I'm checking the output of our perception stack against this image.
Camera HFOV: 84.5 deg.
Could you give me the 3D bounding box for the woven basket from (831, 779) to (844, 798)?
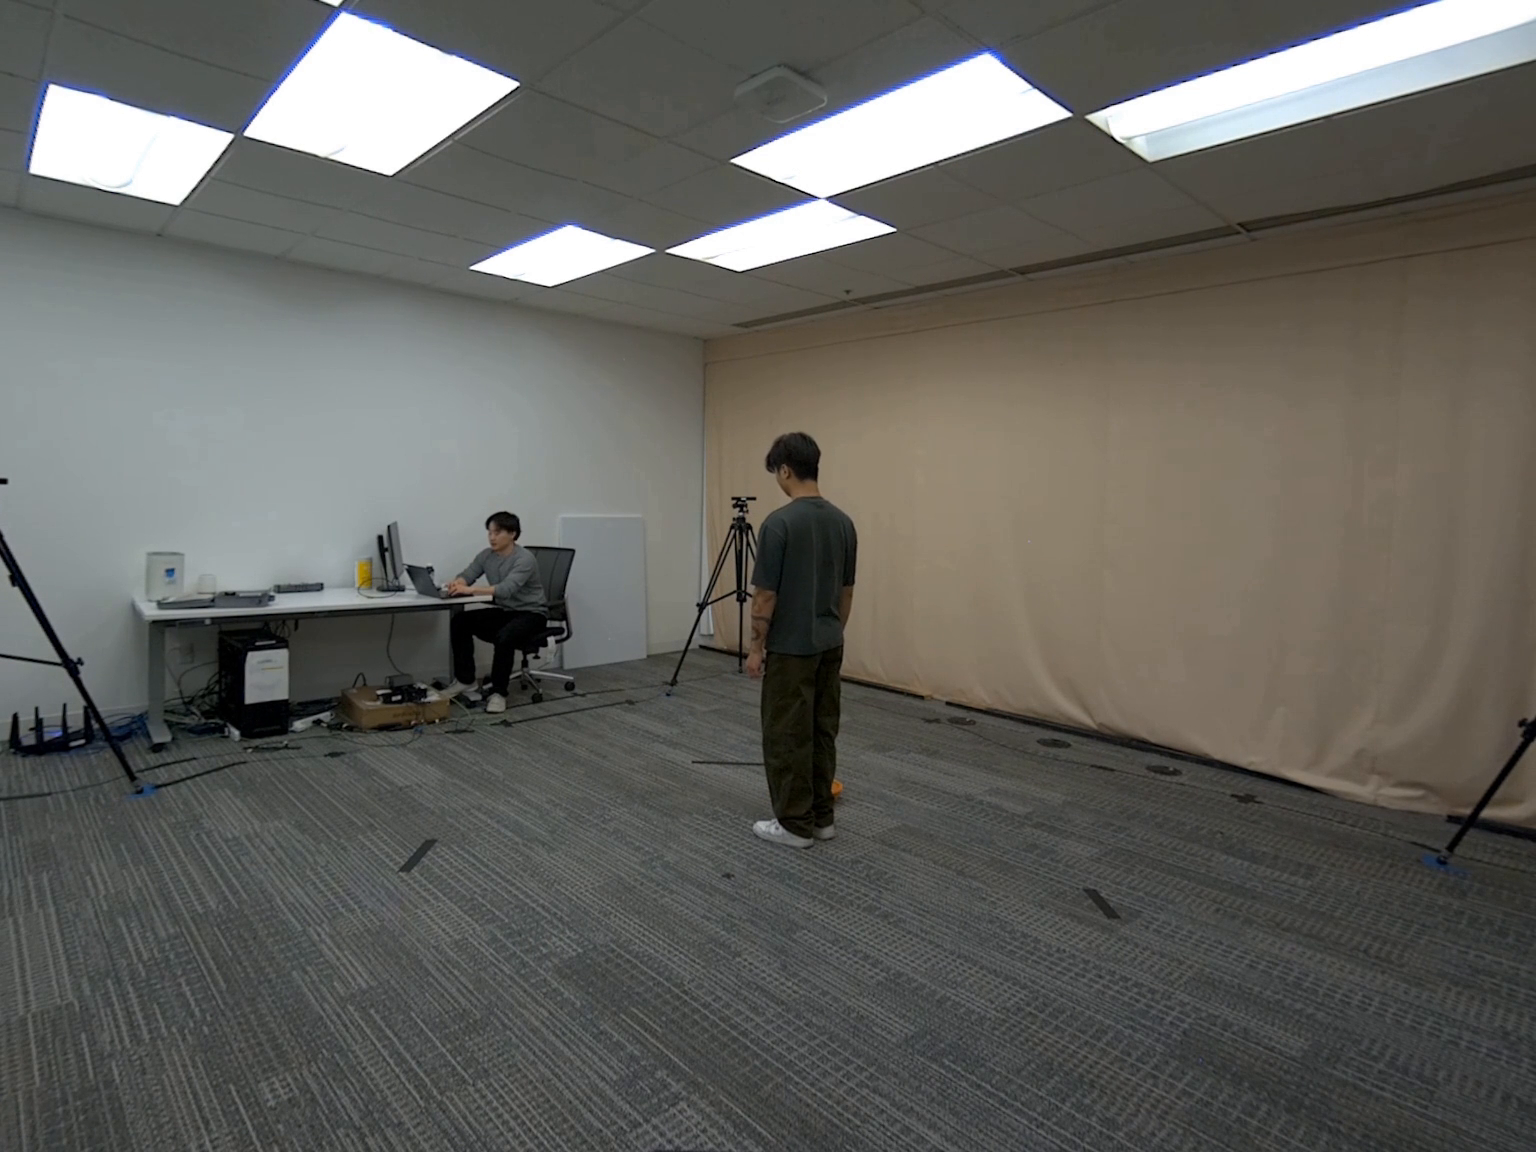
[{"bbox_3d":[0.178,1.008,3.970,0.359,0.073,0.247,6,6,36],"label":"woven basket"}]
